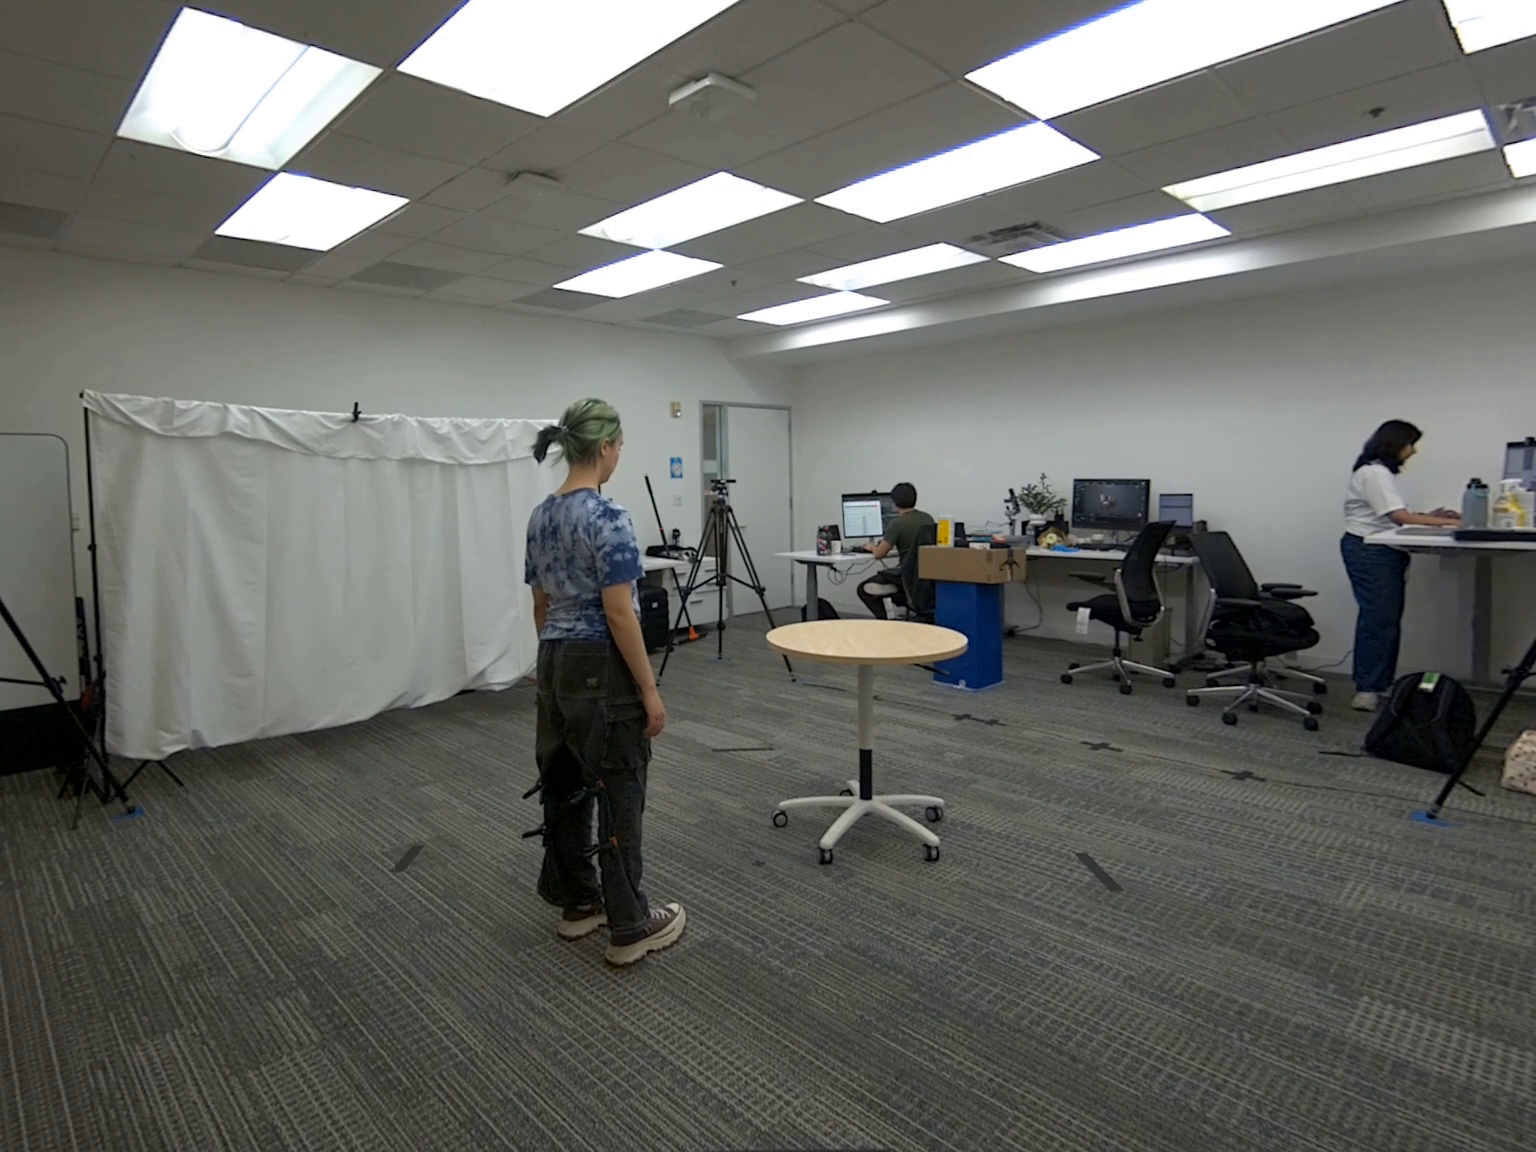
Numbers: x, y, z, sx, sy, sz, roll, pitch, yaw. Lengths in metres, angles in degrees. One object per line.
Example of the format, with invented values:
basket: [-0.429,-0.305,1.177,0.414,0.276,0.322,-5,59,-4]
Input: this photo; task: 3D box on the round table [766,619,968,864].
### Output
round table: [0.382,0.625,3.336,0.763,0.791,0.768,-1,5,-2]
